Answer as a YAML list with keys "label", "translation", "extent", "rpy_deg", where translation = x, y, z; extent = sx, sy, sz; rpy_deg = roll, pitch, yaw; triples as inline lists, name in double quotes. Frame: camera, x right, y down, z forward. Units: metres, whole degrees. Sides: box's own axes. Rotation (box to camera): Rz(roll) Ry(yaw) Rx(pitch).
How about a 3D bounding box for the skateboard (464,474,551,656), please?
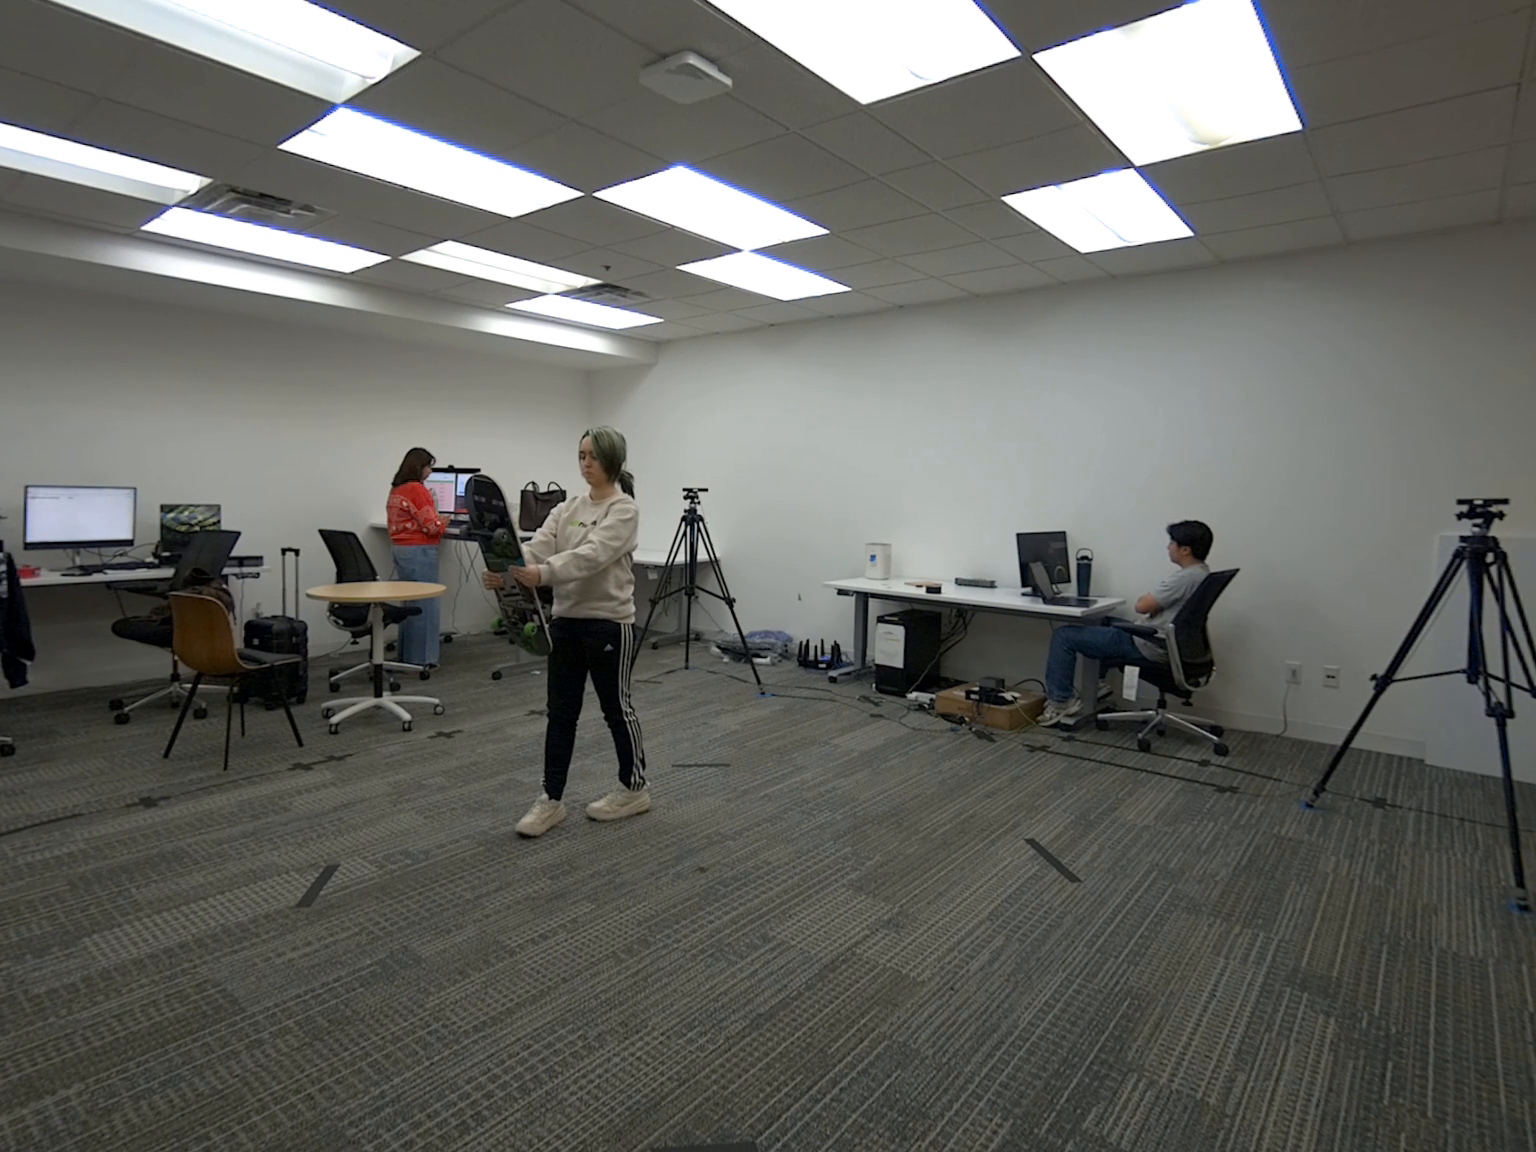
- label: "skateboard"
  translation: [-0.978, 0.001, 3.067]
  extent: [0.198, 0.764, 0.110]
  rpy_deg: [7, 32, 23]
